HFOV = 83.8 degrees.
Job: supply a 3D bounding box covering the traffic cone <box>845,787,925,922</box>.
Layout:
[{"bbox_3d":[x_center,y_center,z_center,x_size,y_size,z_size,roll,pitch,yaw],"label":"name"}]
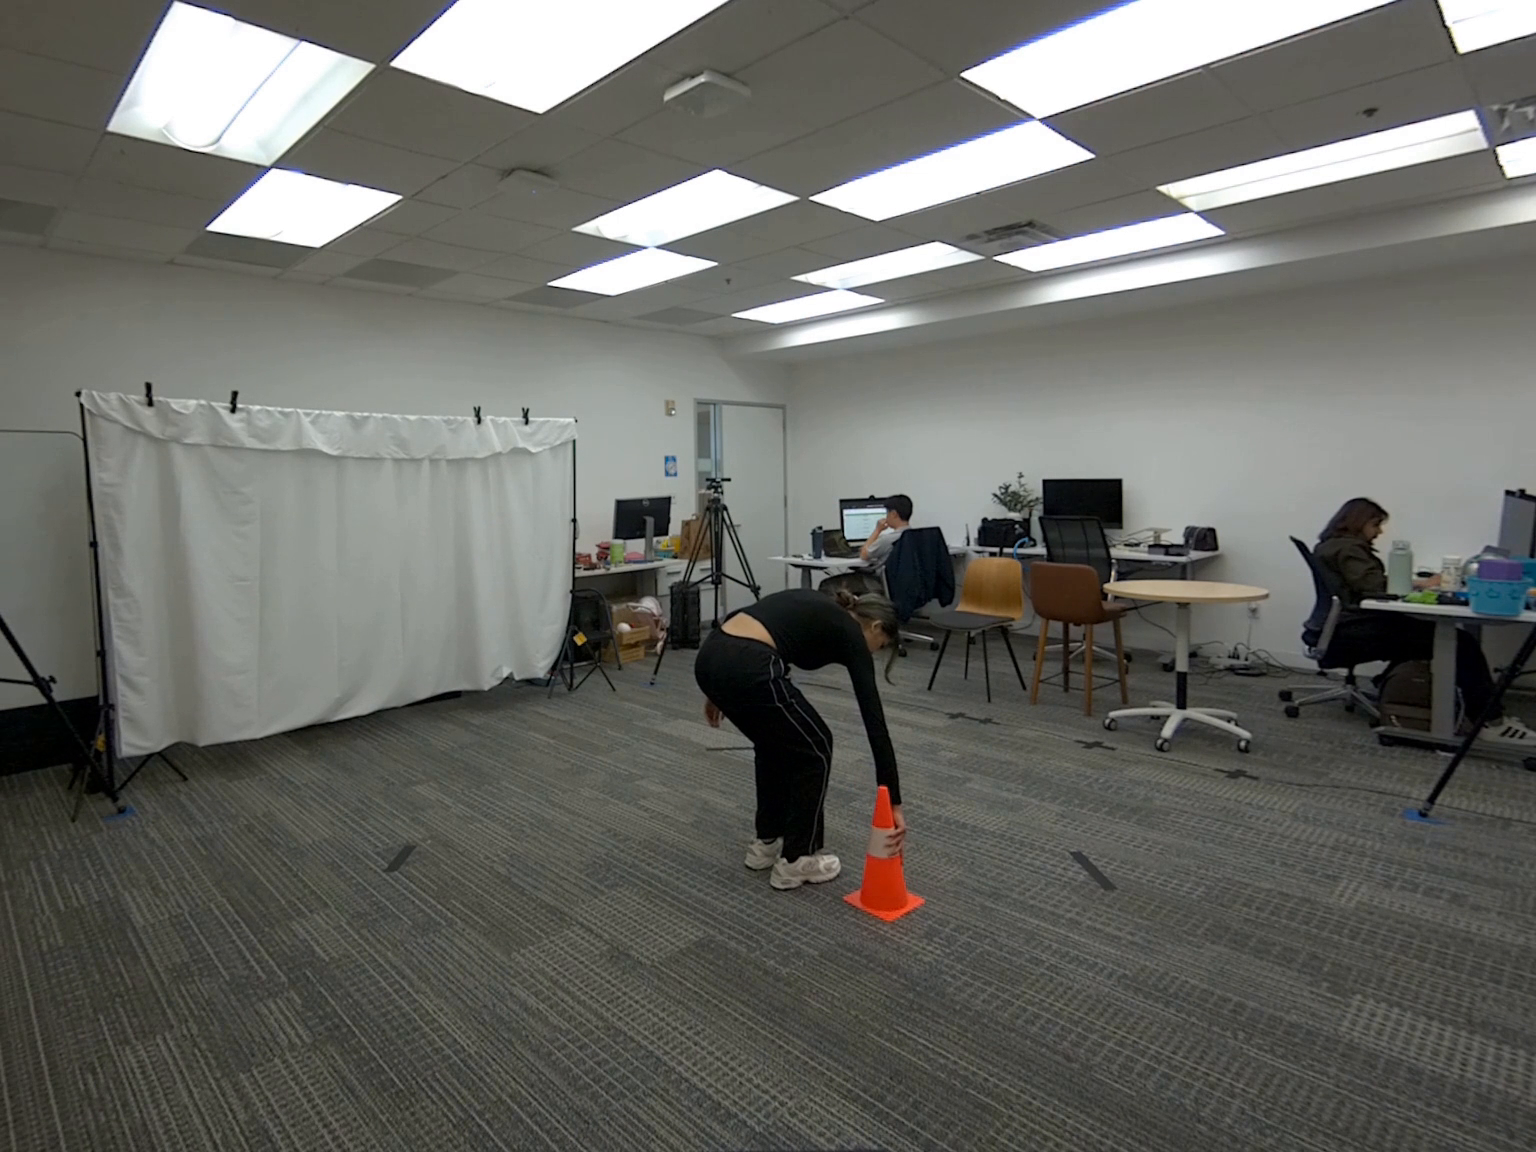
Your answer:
[{"bbox_3d":[0.385,0.883,2.802,0.200,0.382,0.209,-5,7,-37],"label":"traffic cone"}]
